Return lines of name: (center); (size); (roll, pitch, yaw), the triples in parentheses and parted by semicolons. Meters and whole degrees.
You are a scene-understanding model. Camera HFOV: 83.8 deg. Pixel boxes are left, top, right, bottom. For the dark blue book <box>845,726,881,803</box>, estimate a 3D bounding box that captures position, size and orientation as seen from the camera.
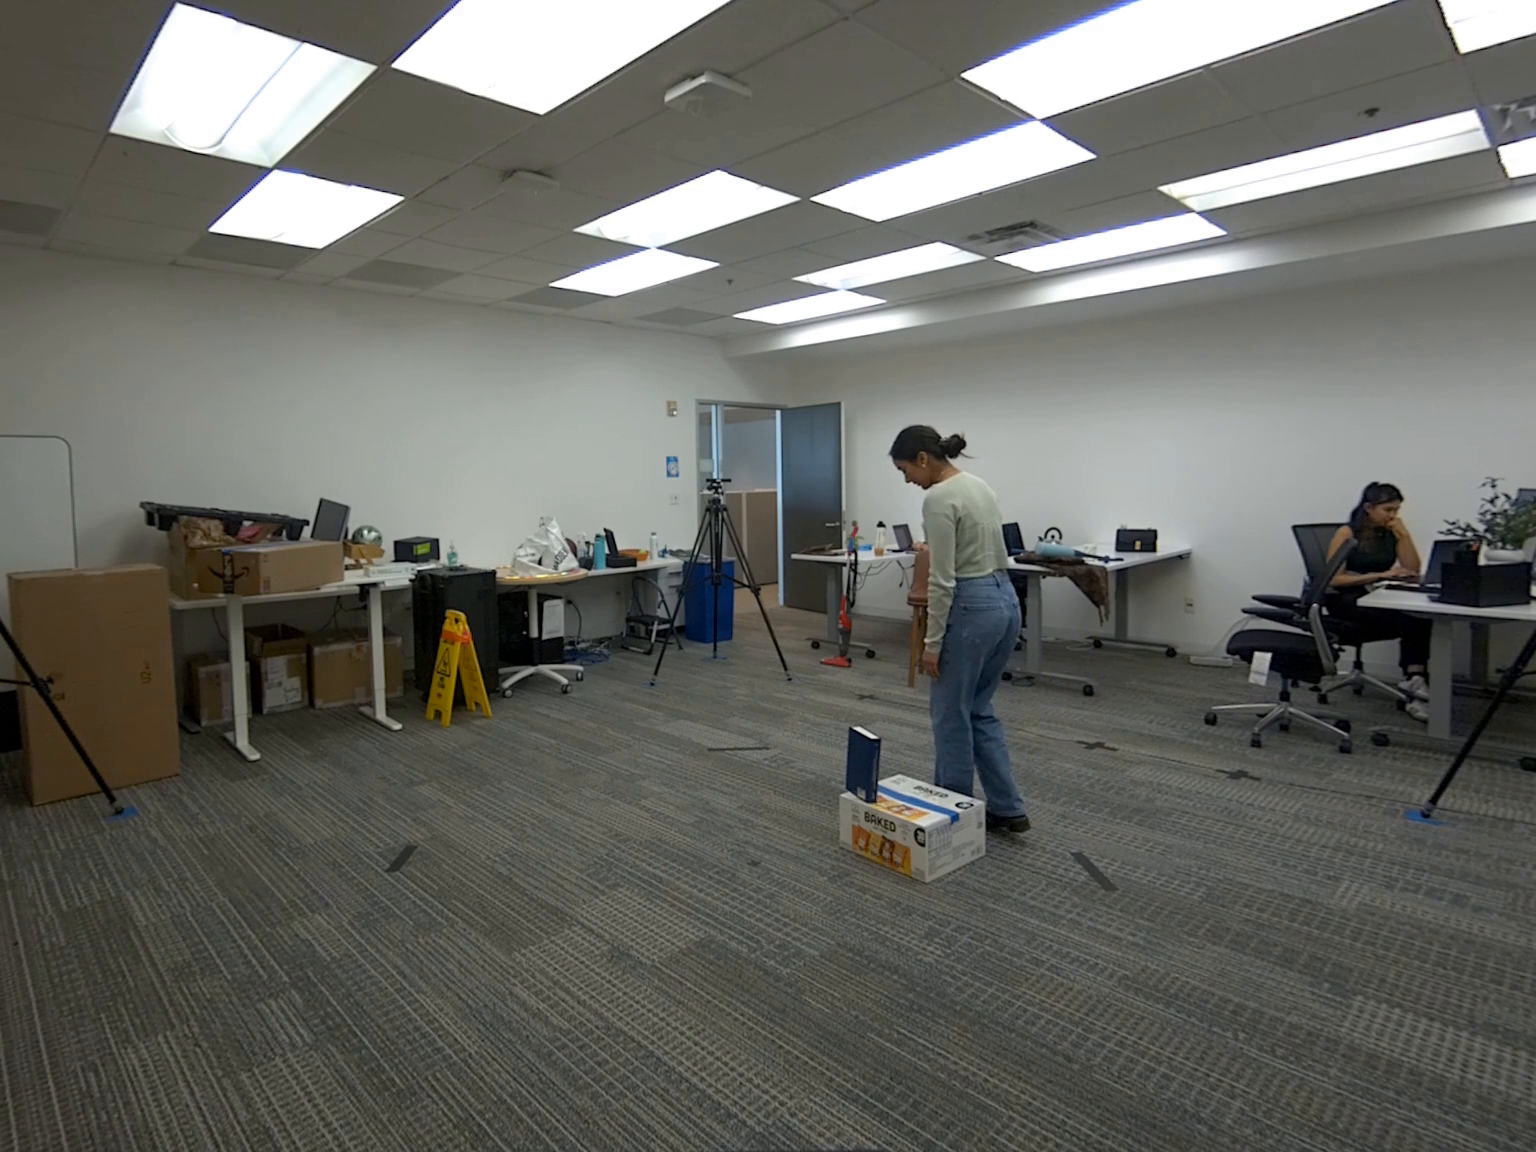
dark blue book: (0.361, 0.704, 3.201); (0.044, 0.244, 0.167); (0, 5, -23)
